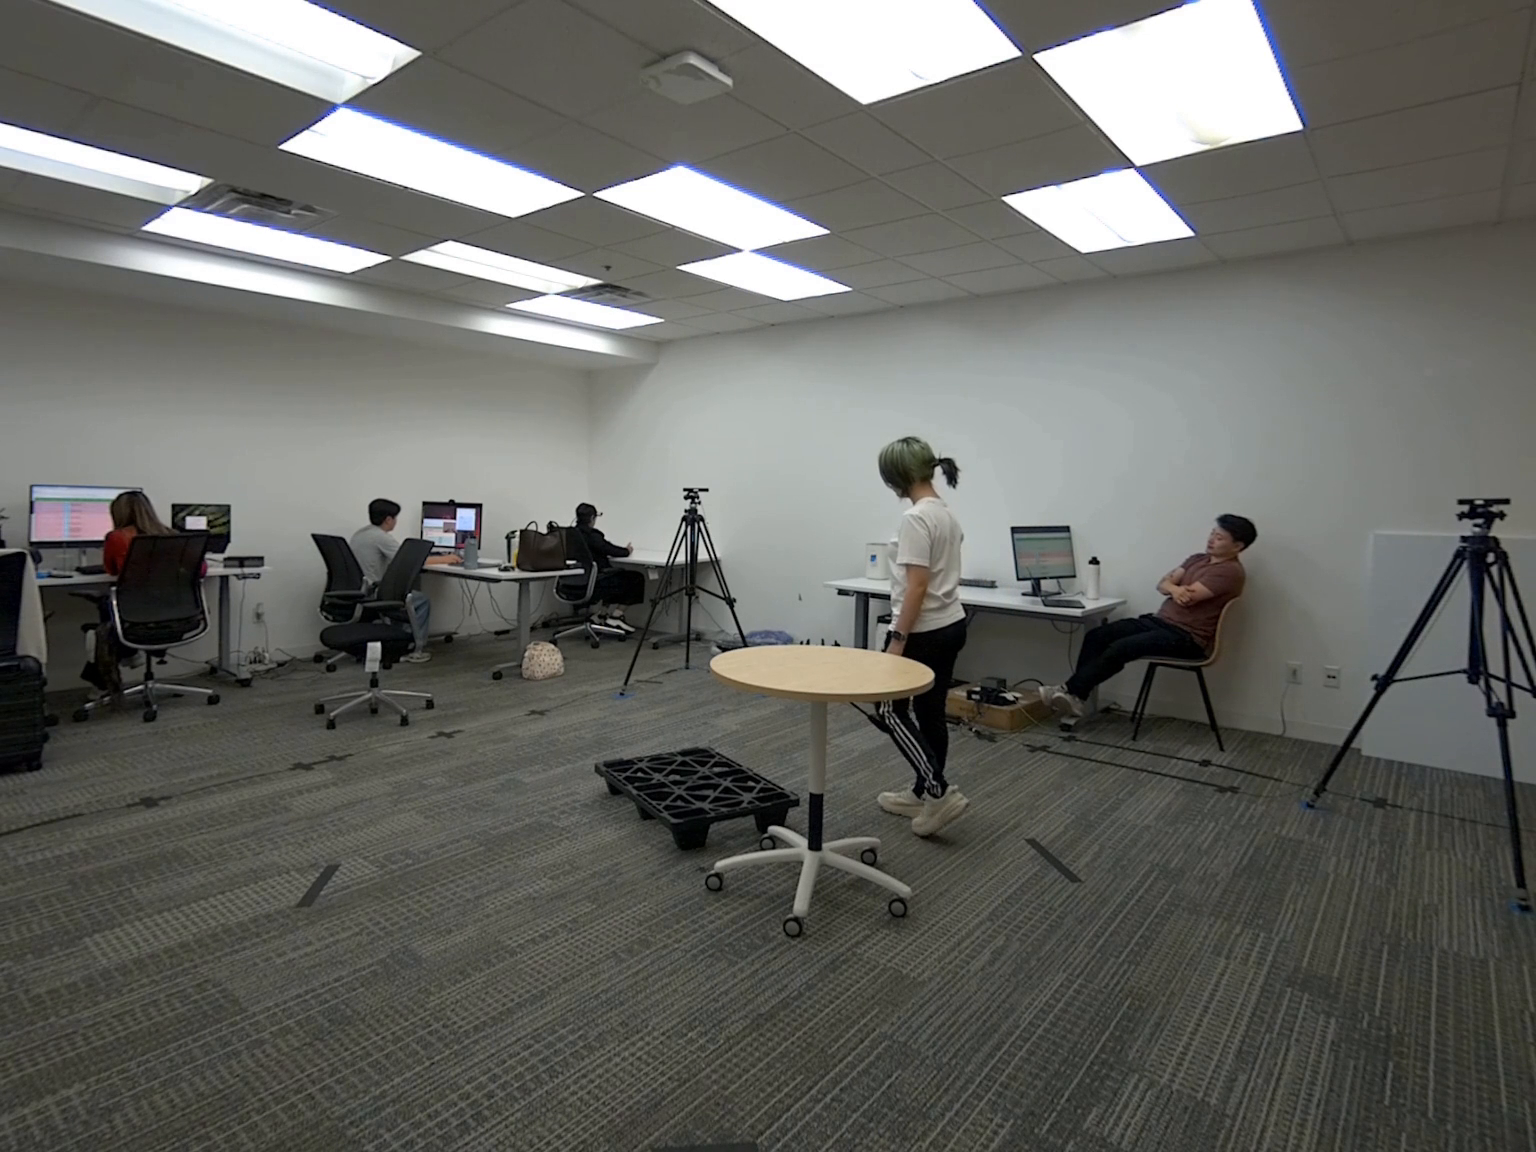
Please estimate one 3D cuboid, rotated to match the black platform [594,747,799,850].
[{"bbox_3d":[-0.339,0.942,3.694,0.588,0.143,0.831,-2,6,-32],"label":"black platform"}]
